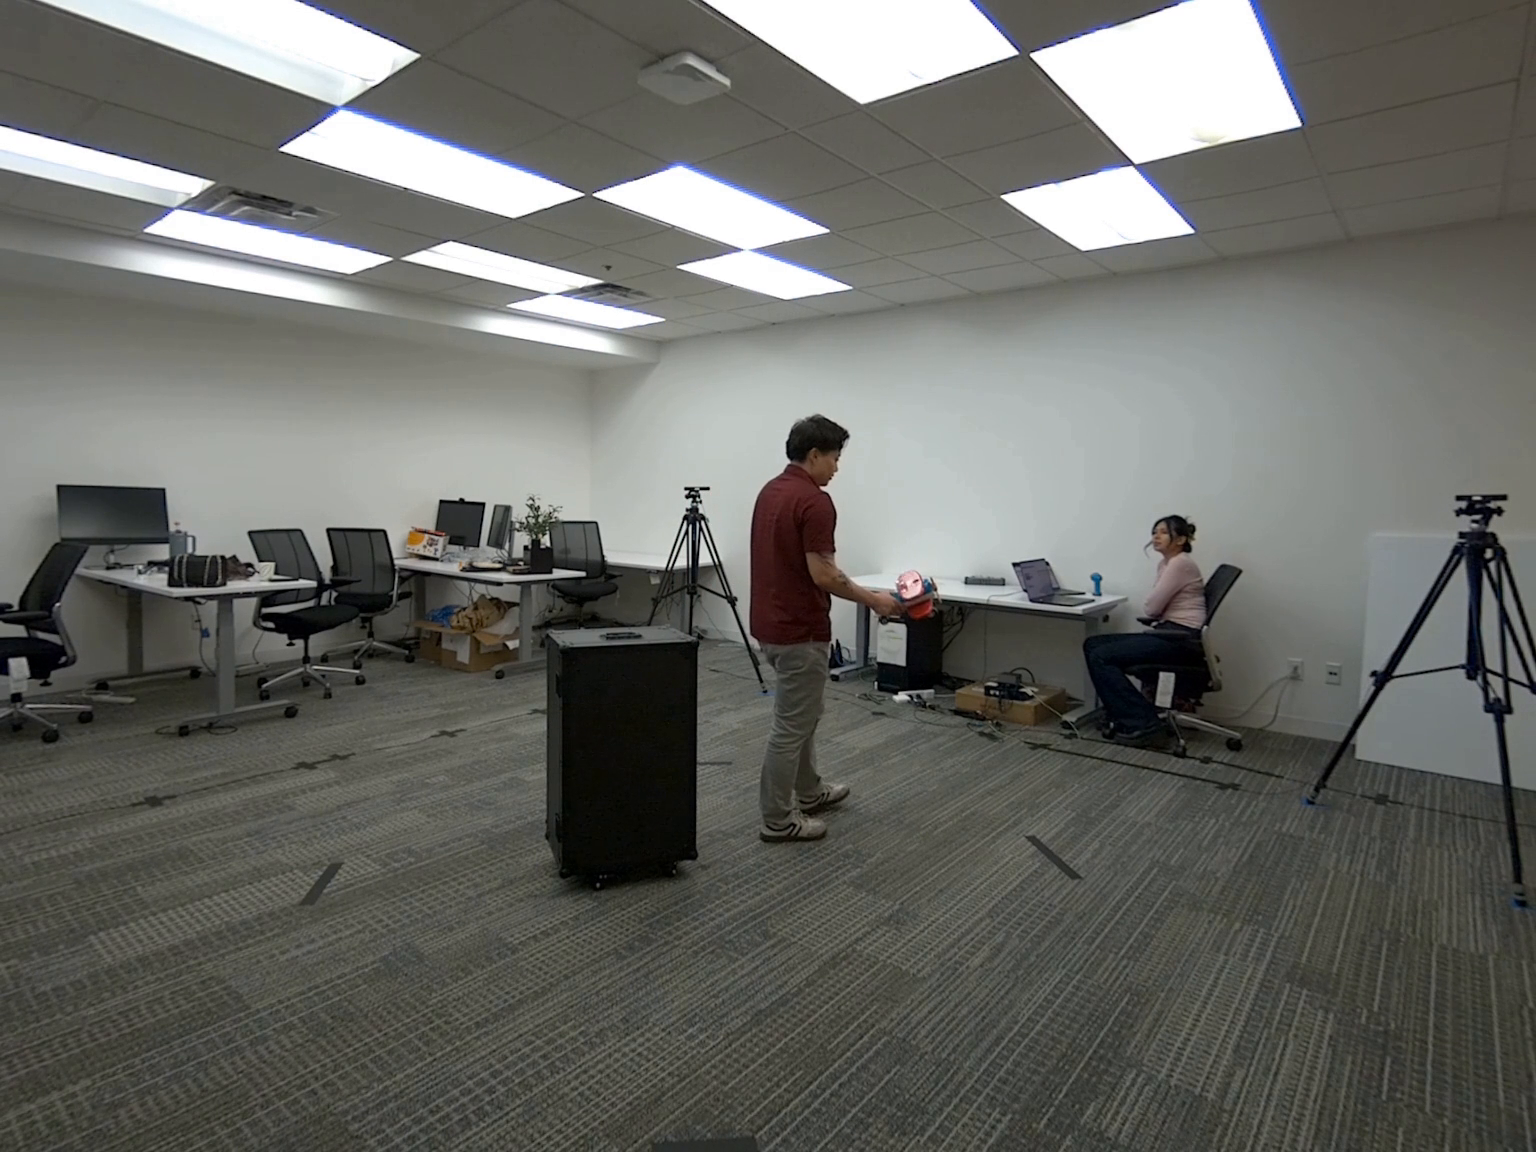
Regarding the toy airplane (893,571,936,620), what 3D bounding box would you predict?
[{"bbox_3d":[0.527,0.100,3.256,0.256,0.153,0.259,-20,20,-19],"label":"toy airplane"}]
